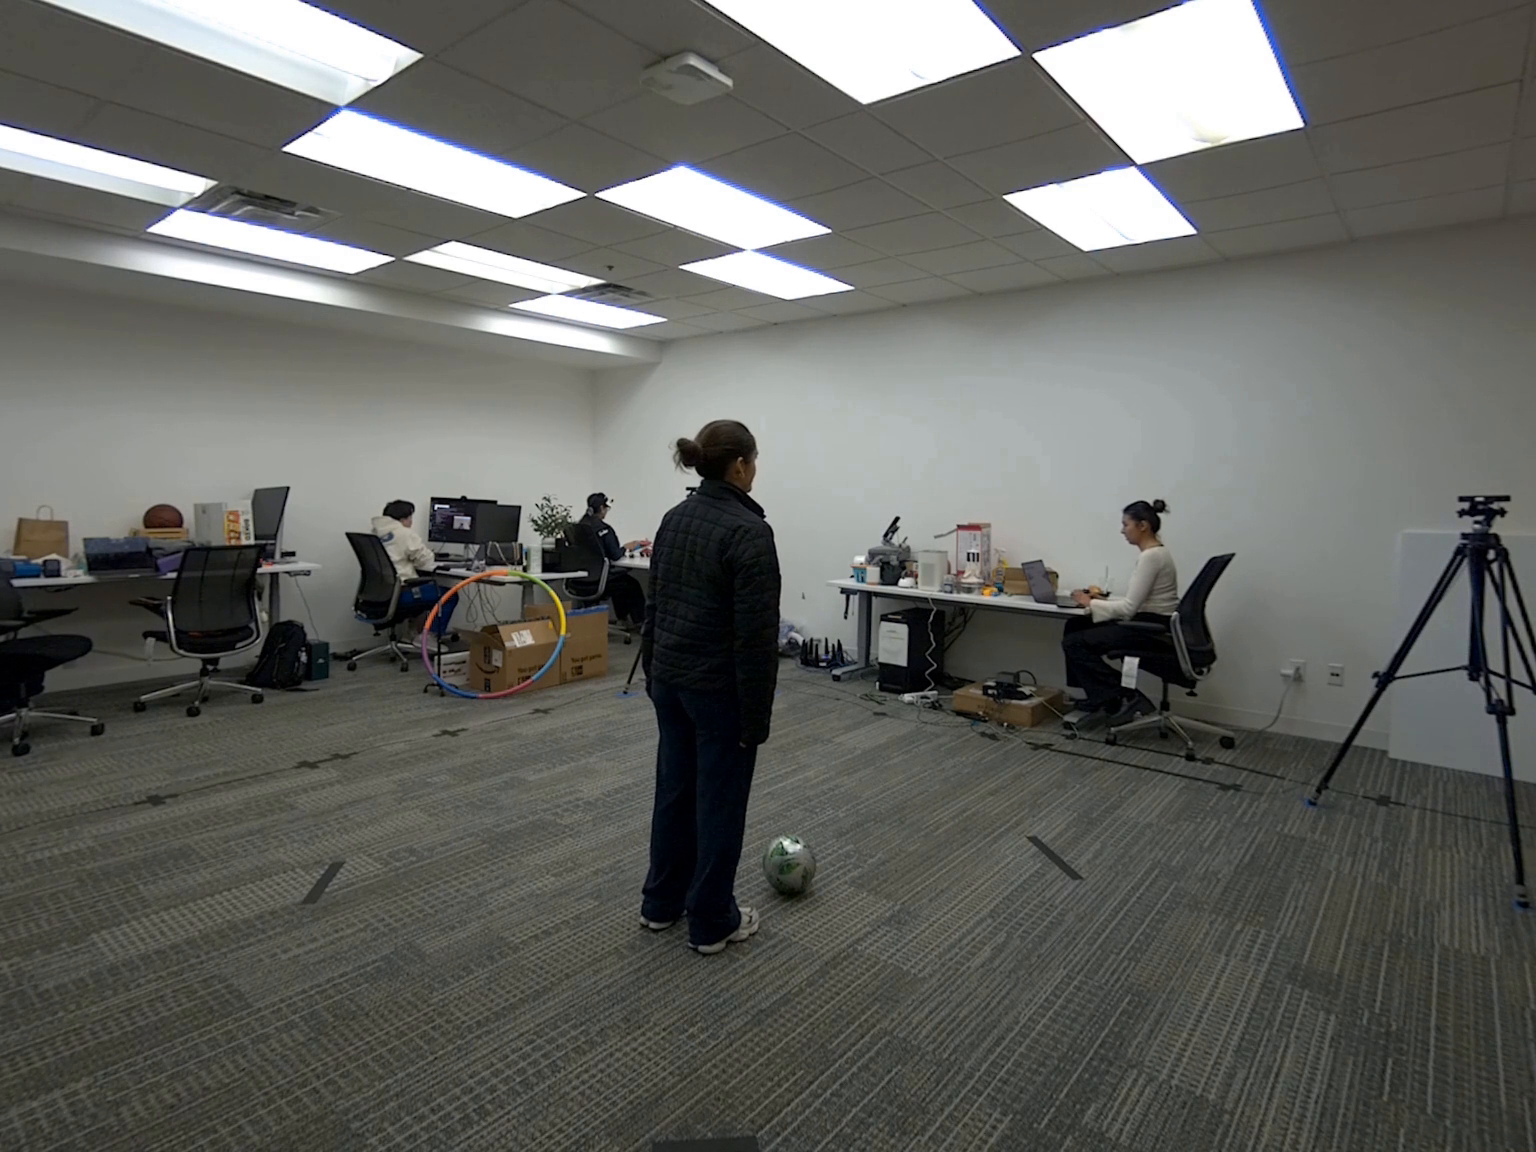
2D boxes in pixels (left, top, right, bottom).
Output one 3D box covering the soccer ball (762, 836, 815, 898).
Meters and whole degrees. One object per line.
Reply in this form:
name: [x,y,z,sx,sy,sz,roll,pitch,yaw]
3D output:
soccer ball: [0.065,0.989,2.944,0.187,0.187,0.188,1,4,-2]
